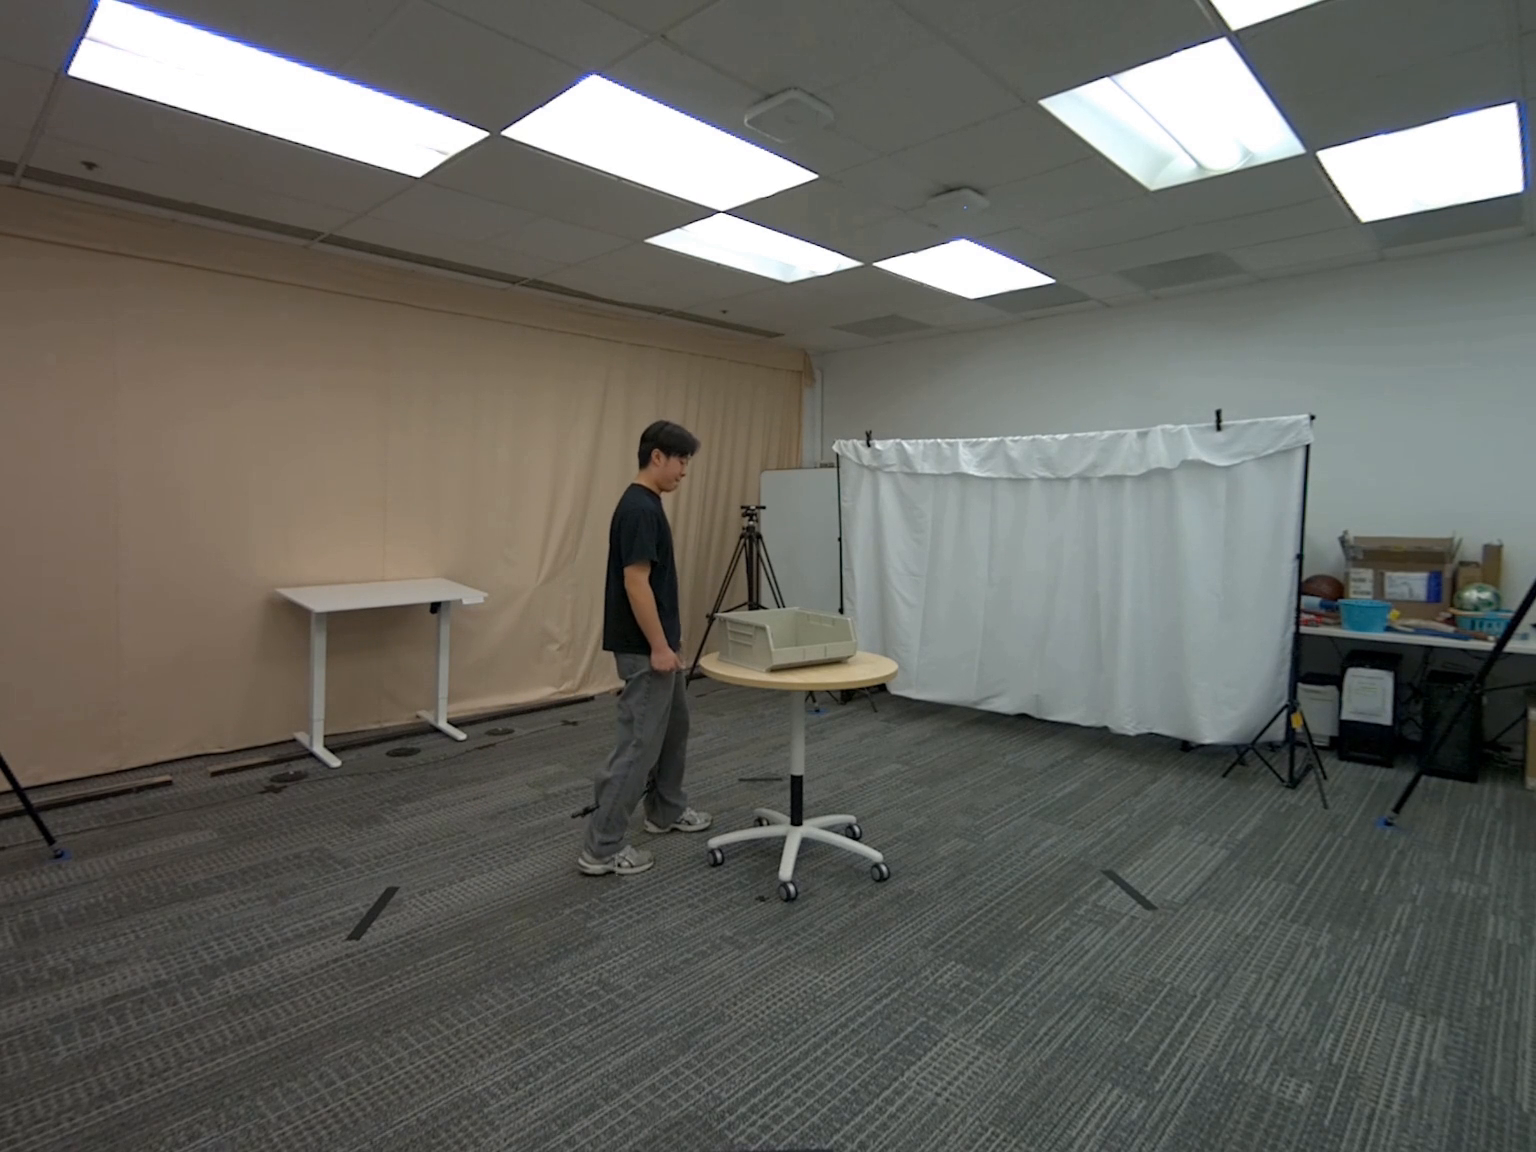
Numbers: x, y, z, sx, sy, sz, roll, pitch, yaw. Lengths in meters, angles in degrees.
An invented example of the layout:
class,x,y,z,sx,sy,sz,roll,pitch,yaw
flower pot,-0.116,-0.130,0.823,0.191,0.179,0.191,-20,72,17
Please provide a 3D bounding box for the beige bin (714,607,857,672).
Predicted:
class,x,y,z,sx,sy,sz,roll,pitch,yaw
beige bin,0.073,0.246,3.278,0.410,0.188,0.389,-4,5,-35
